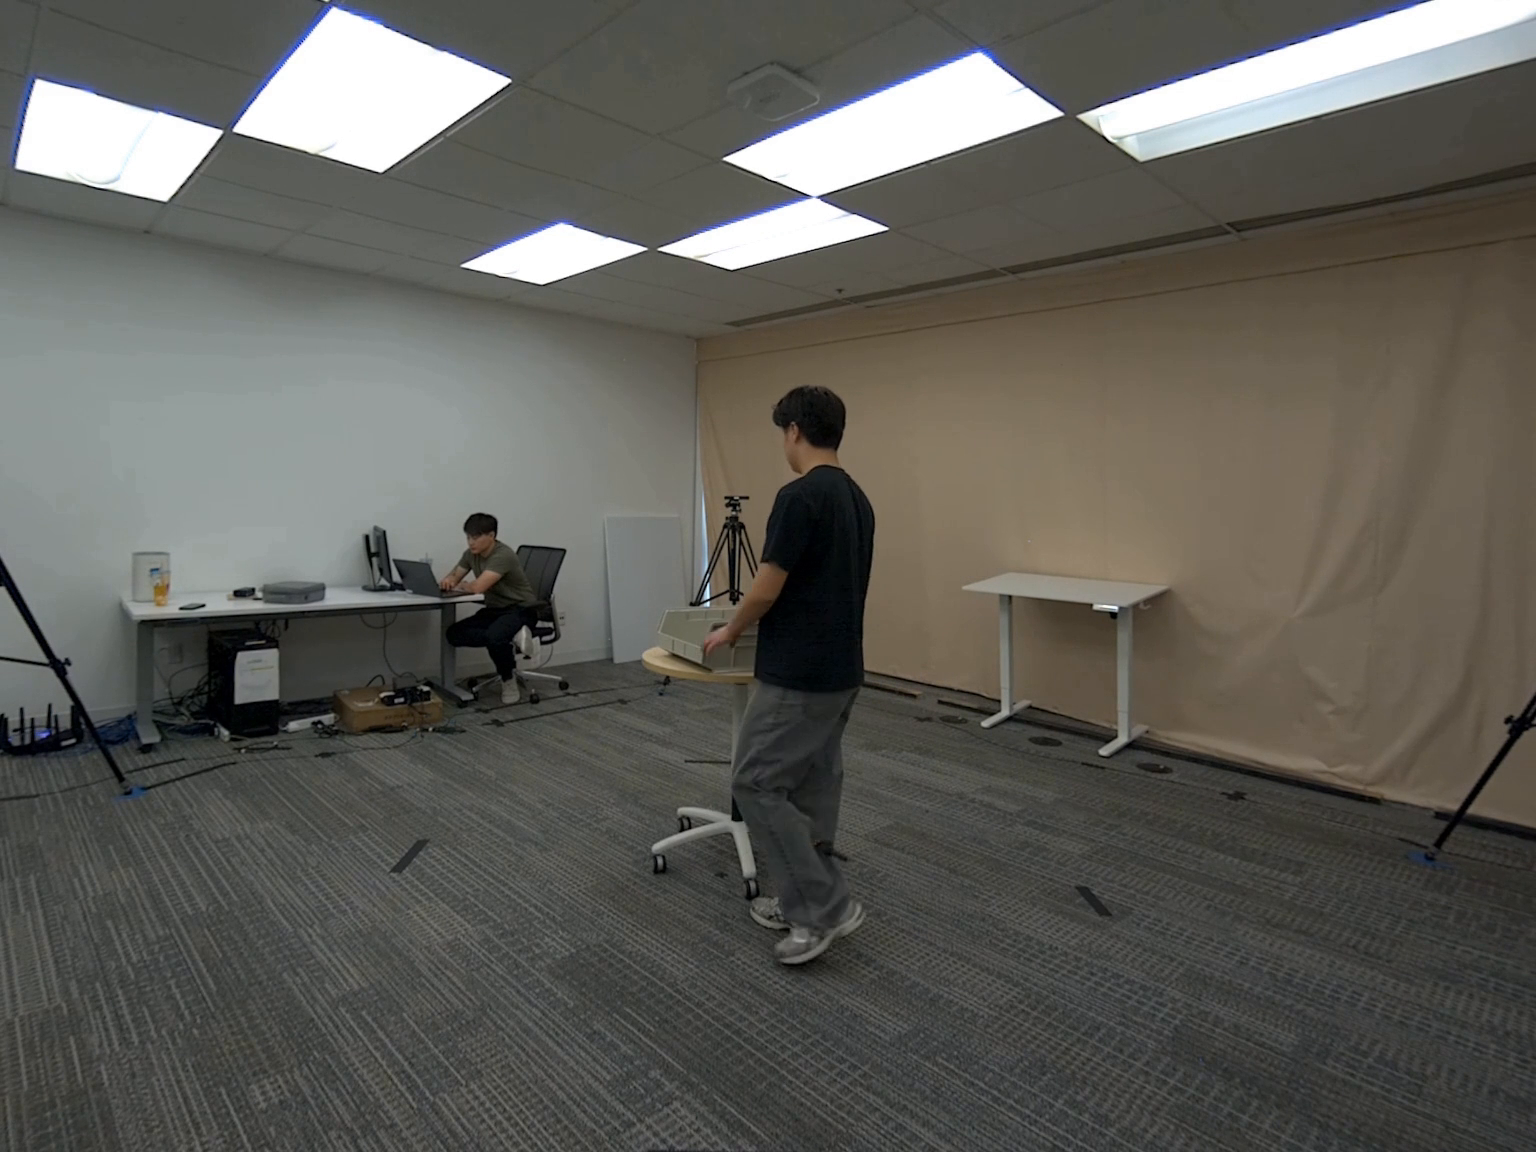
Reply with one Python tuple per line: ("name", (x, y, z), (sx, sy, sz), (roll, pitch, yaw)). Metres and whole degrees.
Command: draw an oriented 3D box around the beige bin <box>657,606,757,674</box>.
("beige bin", (-0.169, 0.229, 3.121), (0.369, 0.189, 0.432), (1, 3, -29))
